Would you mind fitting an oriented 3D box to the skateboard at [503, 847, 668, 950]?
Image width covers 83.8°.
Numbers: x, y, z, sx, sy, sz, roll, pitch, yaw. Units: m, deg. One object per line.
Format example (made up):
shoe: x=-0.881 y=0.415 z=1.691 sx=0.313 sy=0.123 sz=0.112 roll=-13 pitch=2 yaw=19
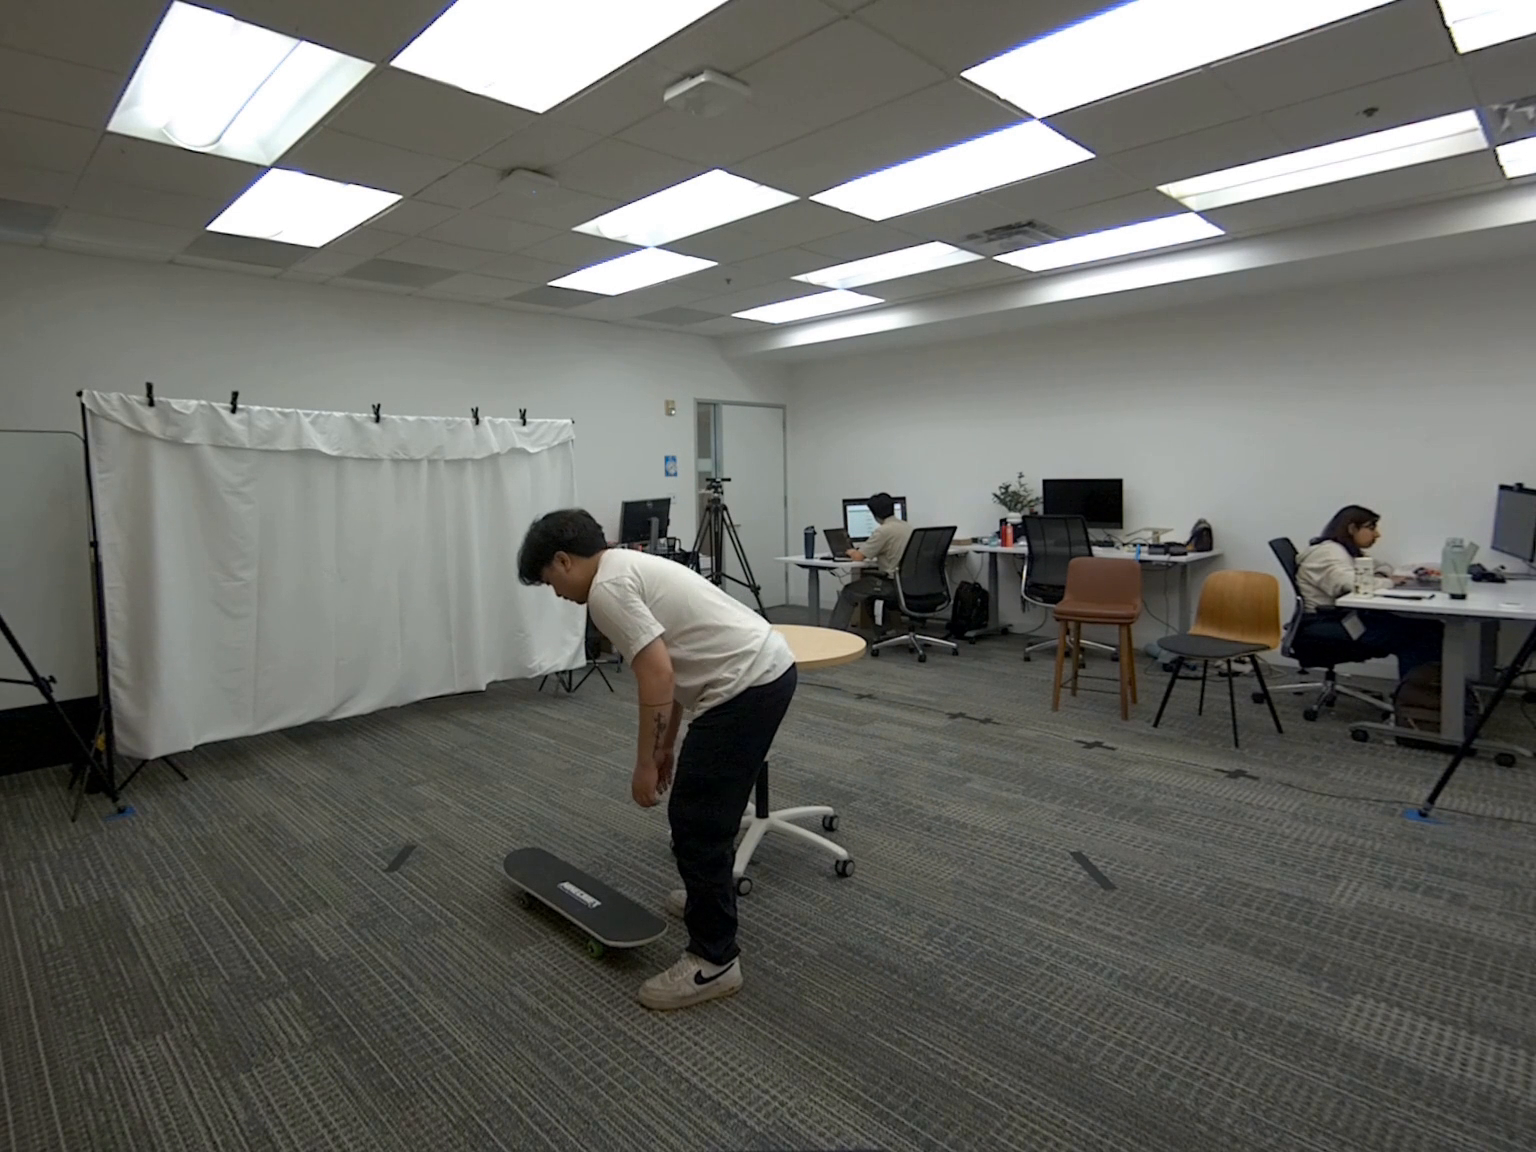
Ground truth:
skateboard: x=-0.598 y=1.052 z=2.704 sx=0.188 sy=0.110 sz=0.810 roll=-8 pitch=9 yaw=-44
